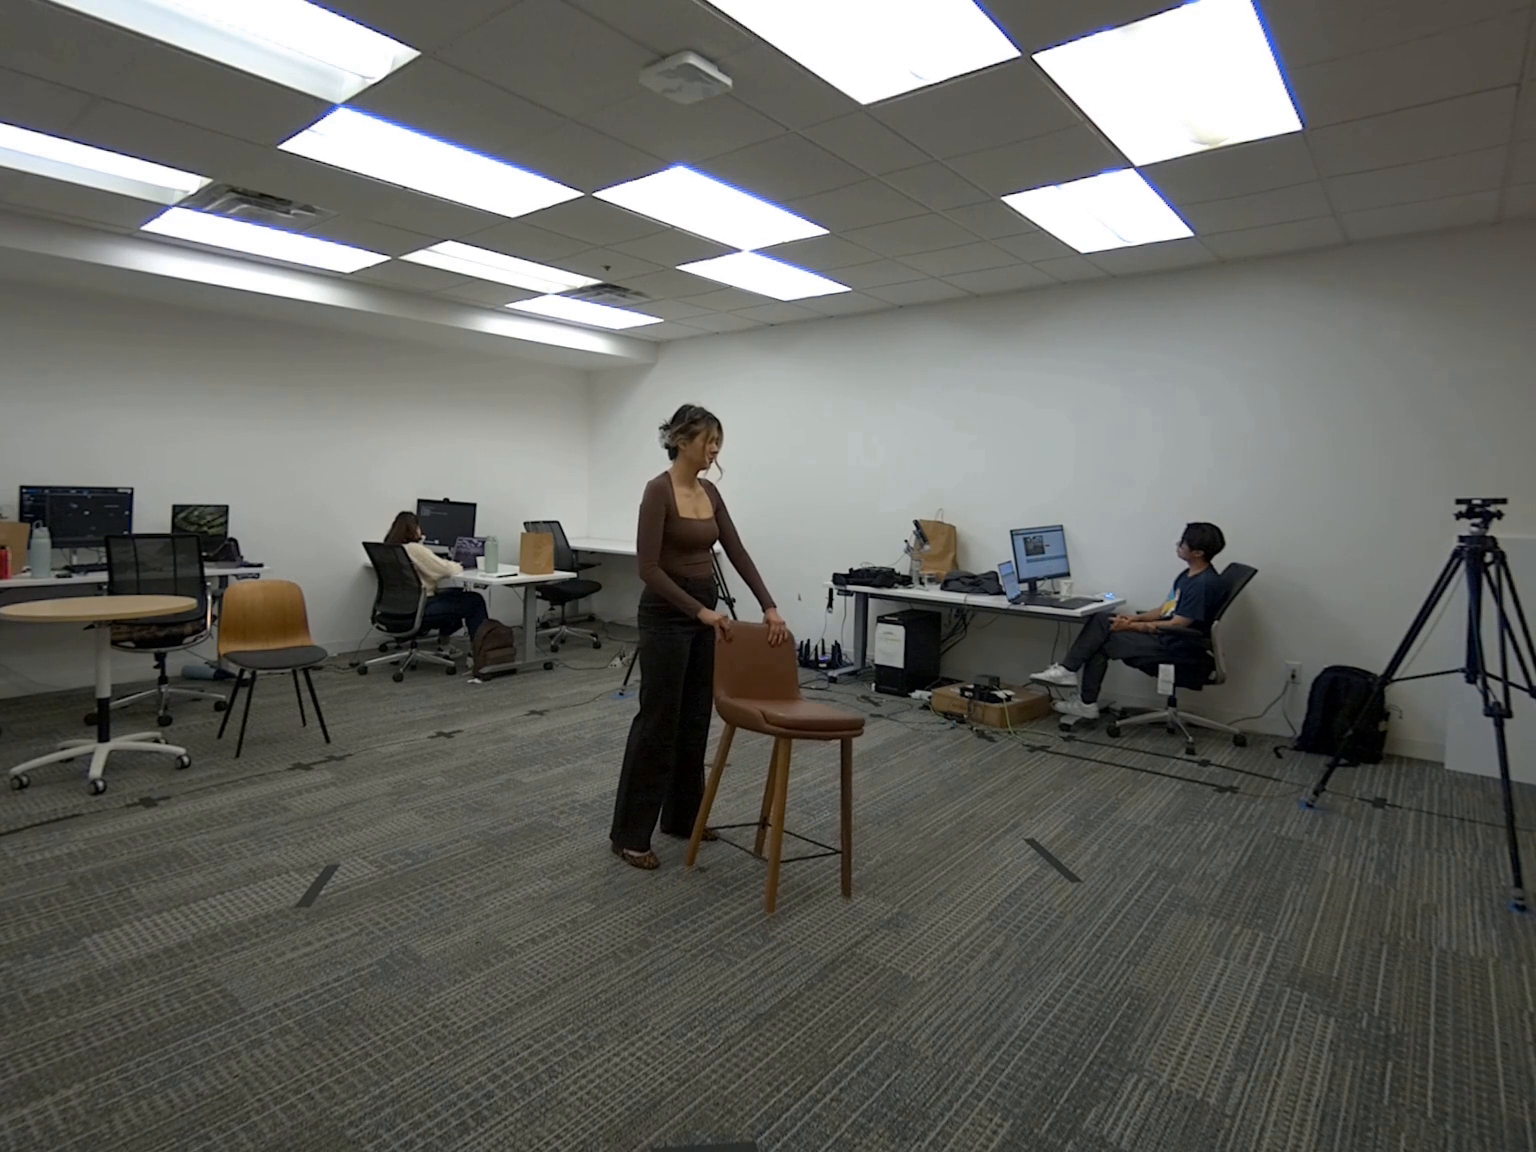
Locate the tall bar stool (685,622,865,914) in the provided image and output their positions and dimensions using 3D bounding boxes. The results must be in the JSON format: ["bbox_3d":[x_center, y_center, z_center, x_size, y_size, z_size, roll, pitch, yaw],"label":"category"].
[{"bbox_3d":[0.034,0.627,2.988,0.440,0.894,0.483,10,-7,-43],"label":"tall bar stool"}]
